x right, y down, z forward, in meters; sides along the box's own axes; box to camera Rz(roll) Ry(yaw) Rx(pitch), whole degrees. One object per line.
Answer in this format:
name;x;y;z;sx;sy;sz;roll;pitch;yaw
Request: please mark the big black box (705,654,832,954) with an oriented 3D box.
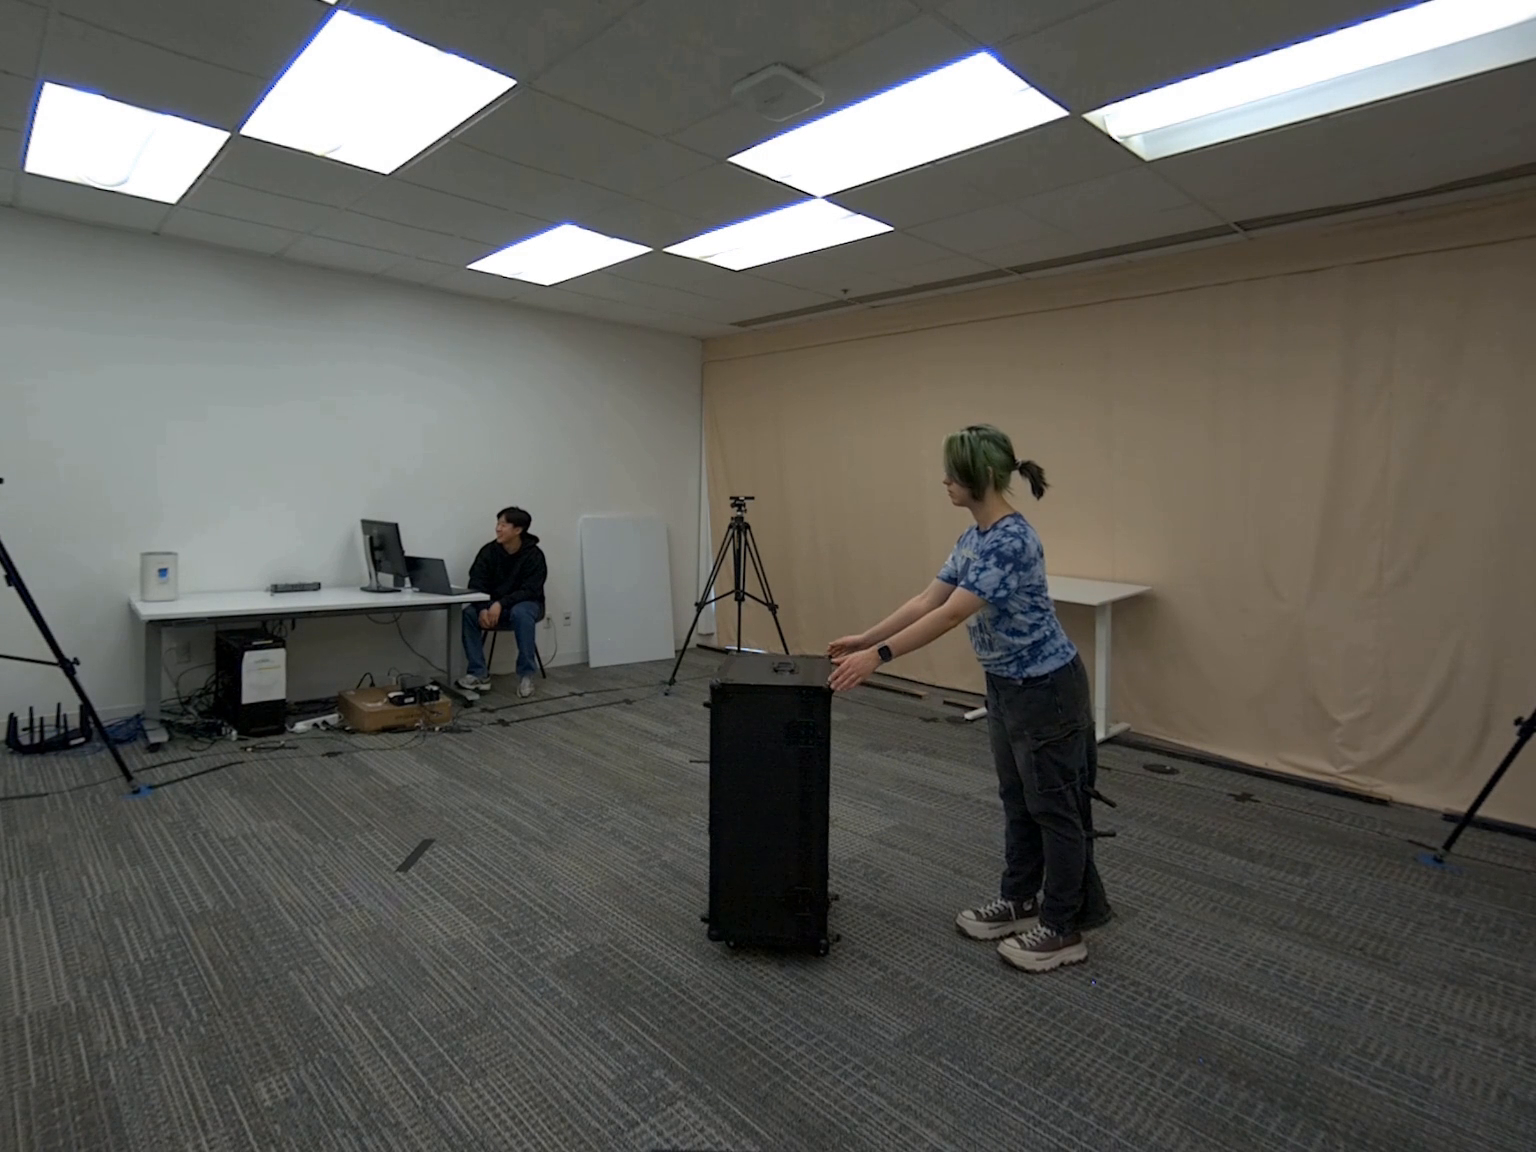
big black box;0.008;0.719;2.701;0.398;0.860;0.520;0;3;5
